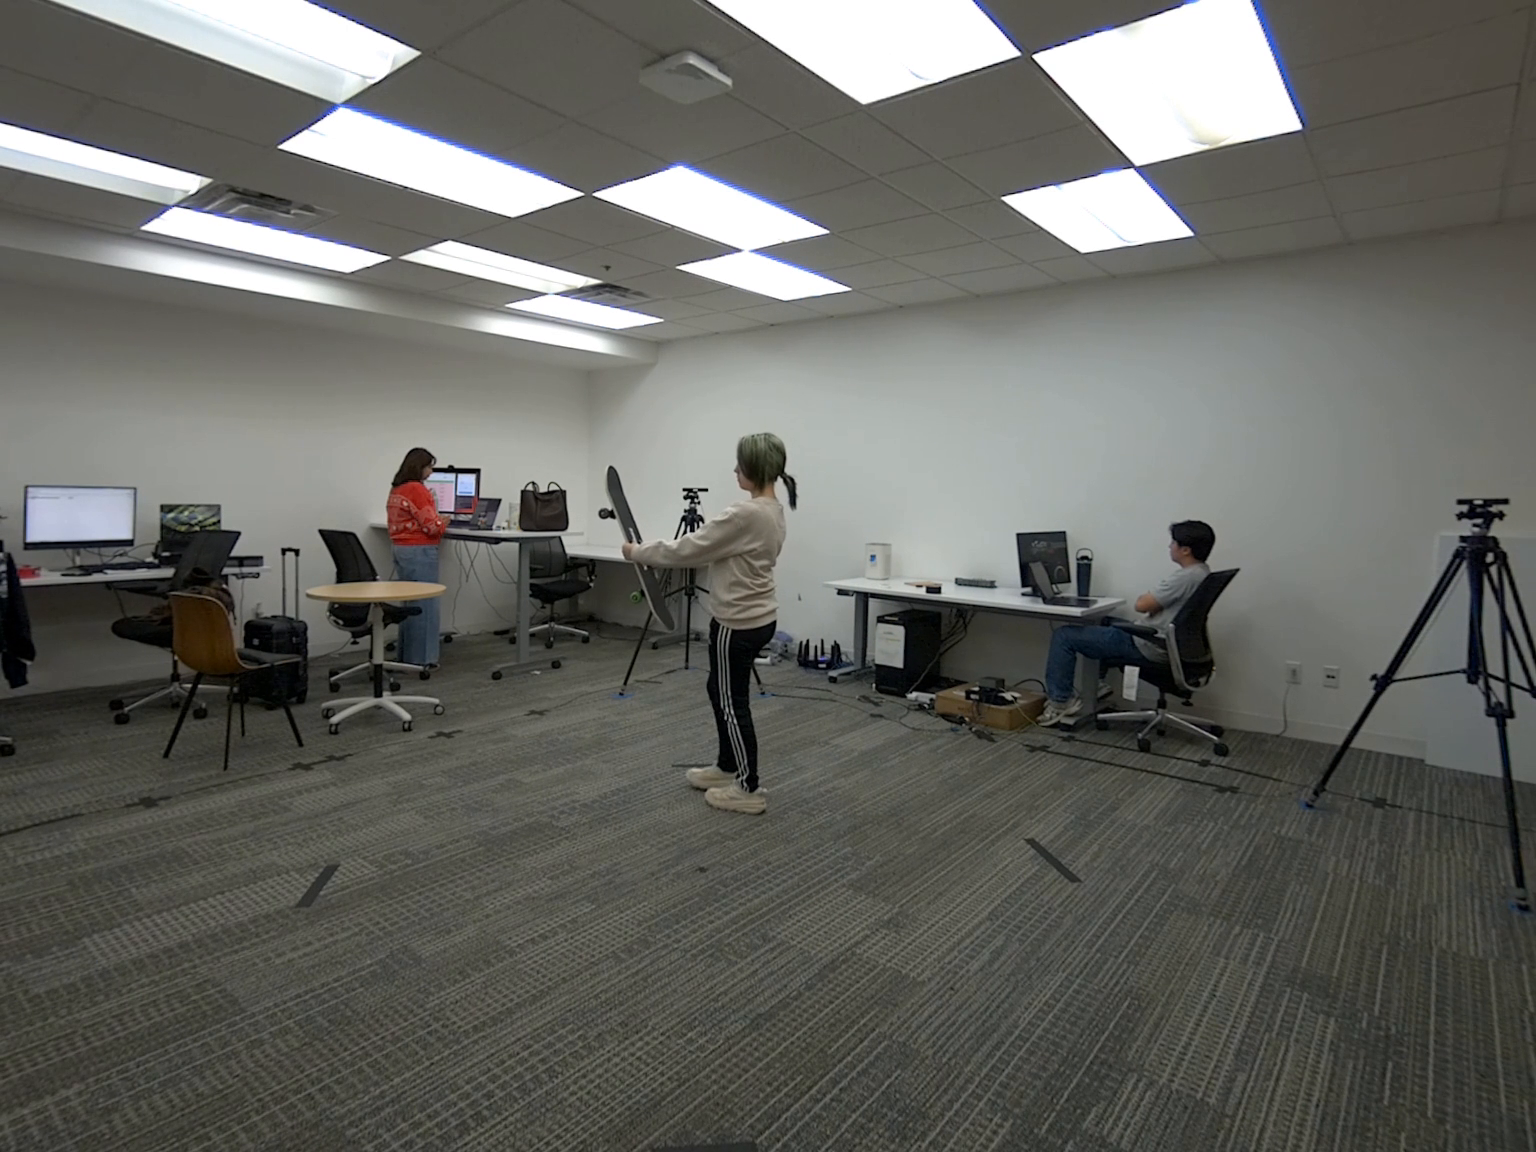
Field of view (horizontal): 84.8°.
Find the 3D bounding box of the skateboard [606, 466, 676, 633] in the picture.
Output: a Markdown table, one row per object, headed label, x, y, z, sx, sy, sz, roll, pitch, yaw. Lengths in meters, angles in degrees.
| label | x | y | z | sx | sy | sz | roll | pitch | yaw |
| --- | --- | --- | --- | --- | --- | --- | --- | --- | --- |
| skateboard | -0.631 | -0.112 | 3.824 | 0.111 | 0.785 | 0.192 | -22 | 1 | 12 |
